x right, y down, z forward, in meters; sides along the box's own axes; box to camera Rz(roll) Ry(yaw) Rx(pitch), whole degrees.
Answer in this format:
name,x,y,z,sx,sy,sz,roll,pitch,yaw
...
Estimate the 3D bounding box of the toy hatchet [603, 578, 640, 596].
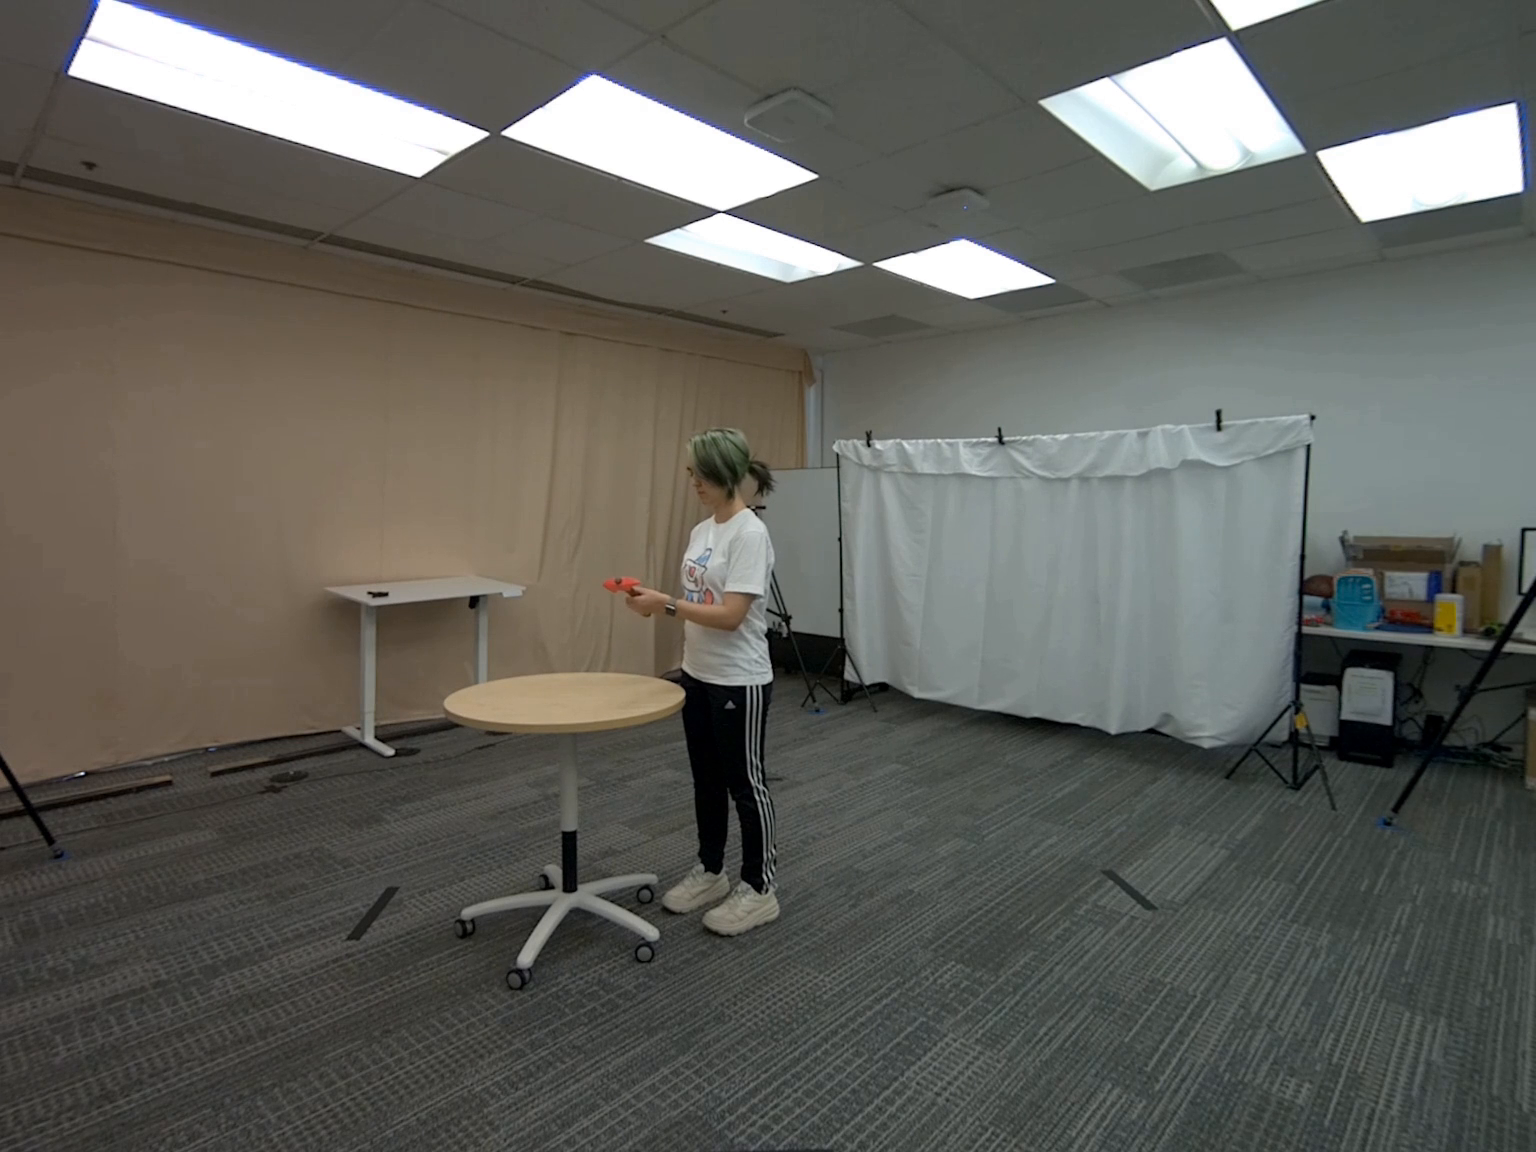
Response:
name,x,y,z,sx,sy,sz,roll,pitch,yaw
toy hatchet,-0.451,0.073,2.714,0.131,0.030,0.266,2,-25,0
